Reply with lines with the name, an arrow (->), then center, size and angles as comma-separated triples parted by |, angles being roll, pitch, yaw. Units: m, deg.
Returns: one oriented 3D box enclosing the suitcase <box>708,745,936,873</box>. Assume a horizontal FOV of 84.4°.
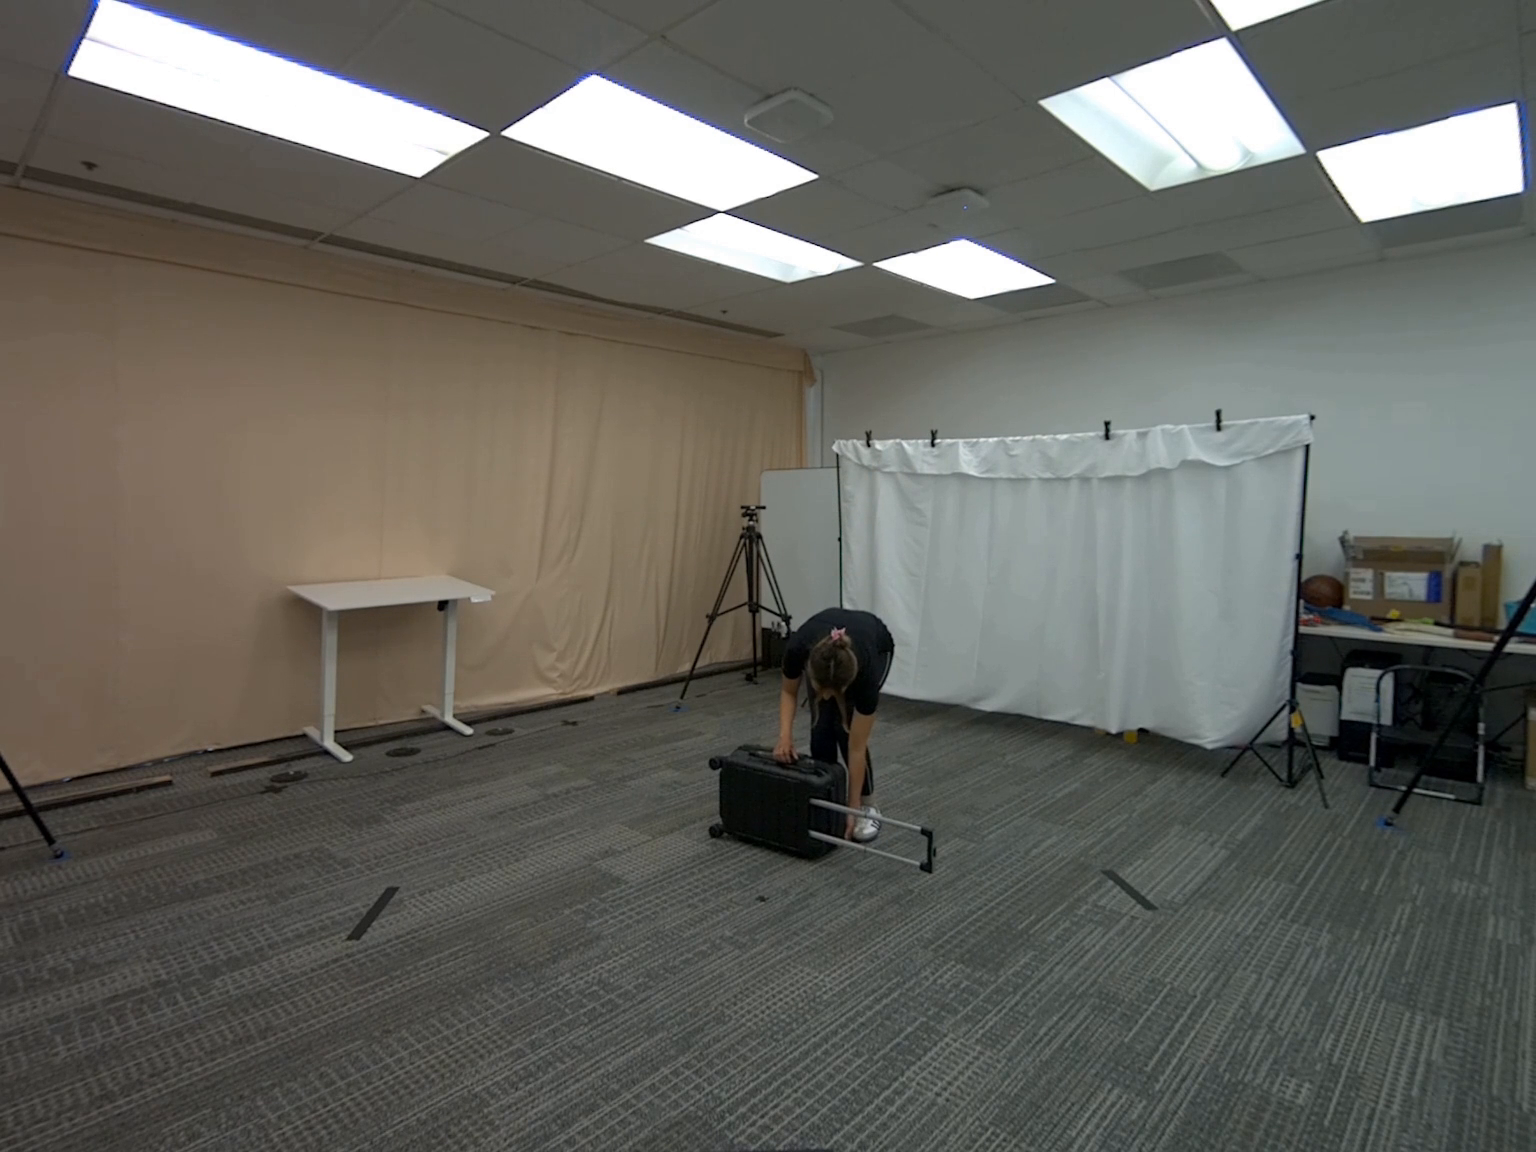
suitcase -> 0.221, 0.926, 3.341 | 1.009, 0.383, 0.250 | 3, 5, 34
